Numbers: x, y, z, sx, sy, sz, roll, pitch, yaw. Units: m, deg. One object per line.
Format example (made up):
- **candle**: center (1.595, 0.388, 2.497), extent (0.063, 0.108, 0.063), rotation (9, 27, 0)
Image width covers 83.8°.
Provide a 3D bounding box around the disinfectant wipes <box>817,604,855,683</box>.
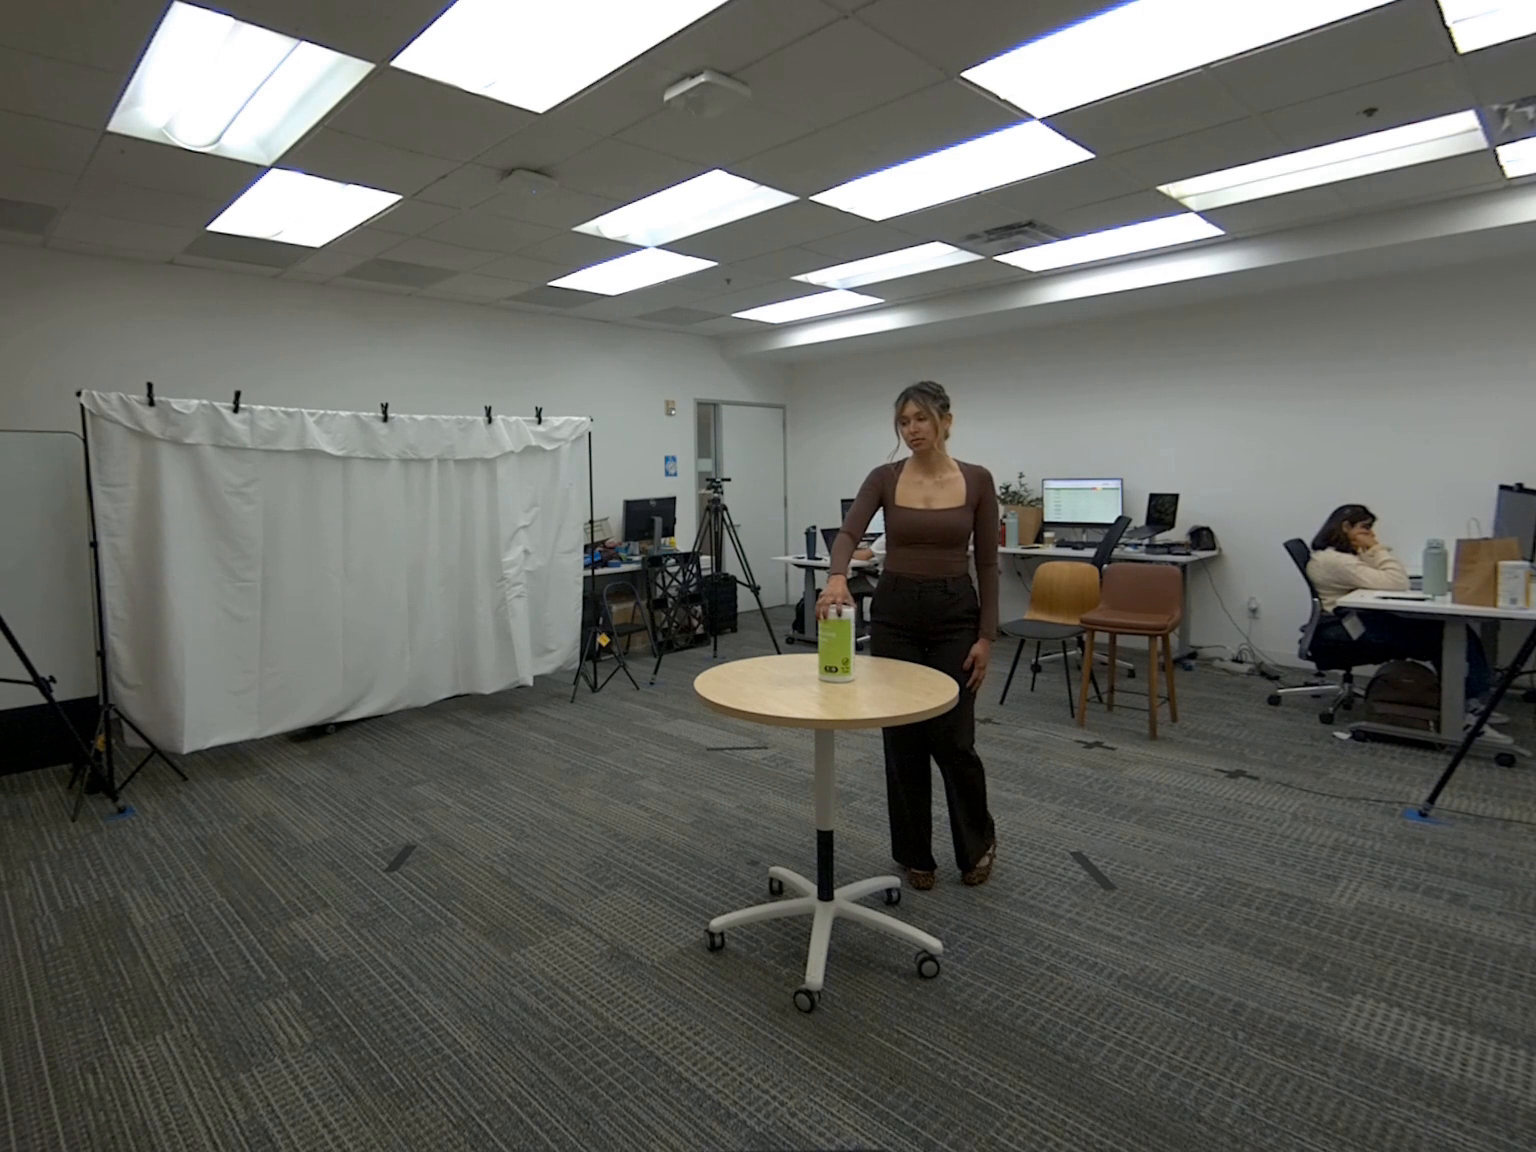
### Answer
- **disinfectant wipes**: center (0.210, 0.199, 2.534), extent (0.118, 0.217, 0.118), rotation (-2, 3, -2)
